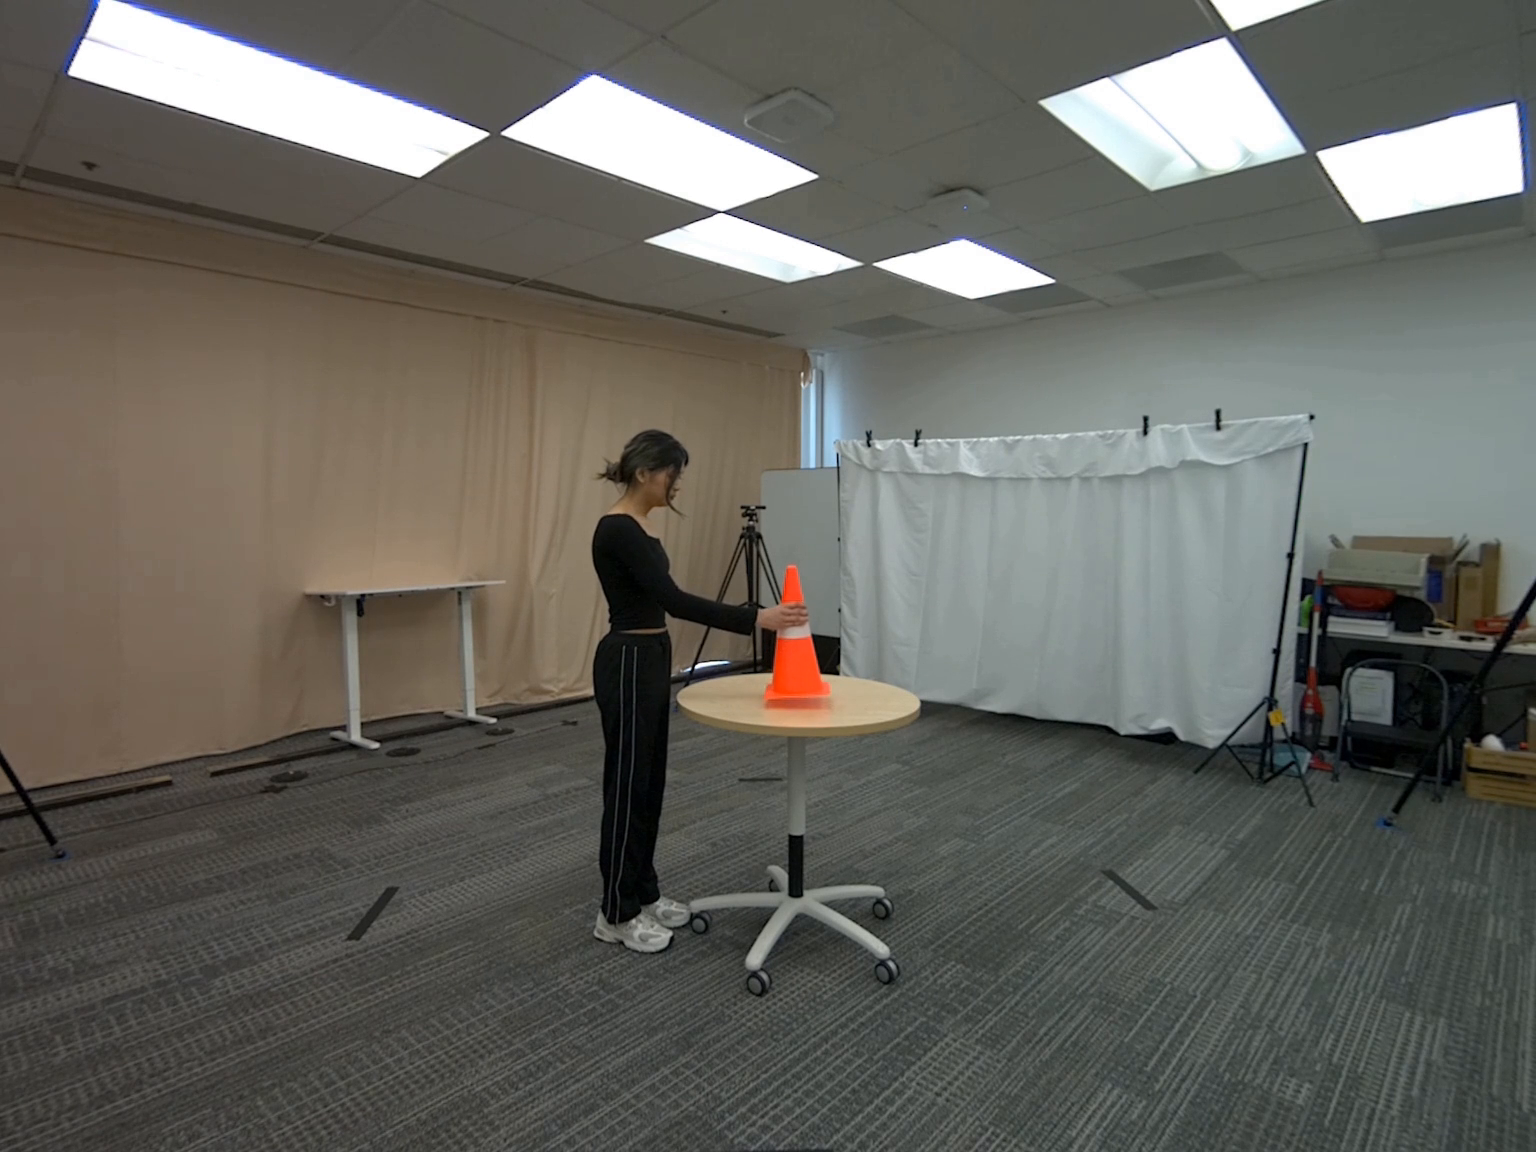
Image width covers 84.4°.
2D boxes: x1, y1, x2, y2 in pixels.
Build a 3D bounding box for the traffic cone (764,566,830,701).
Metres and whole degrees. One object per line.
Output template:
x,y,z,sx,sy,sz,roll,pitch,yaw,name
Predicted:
0.078,0.167,2.569,0.205,0.383,0.204,-3,3,6,traffic cone
